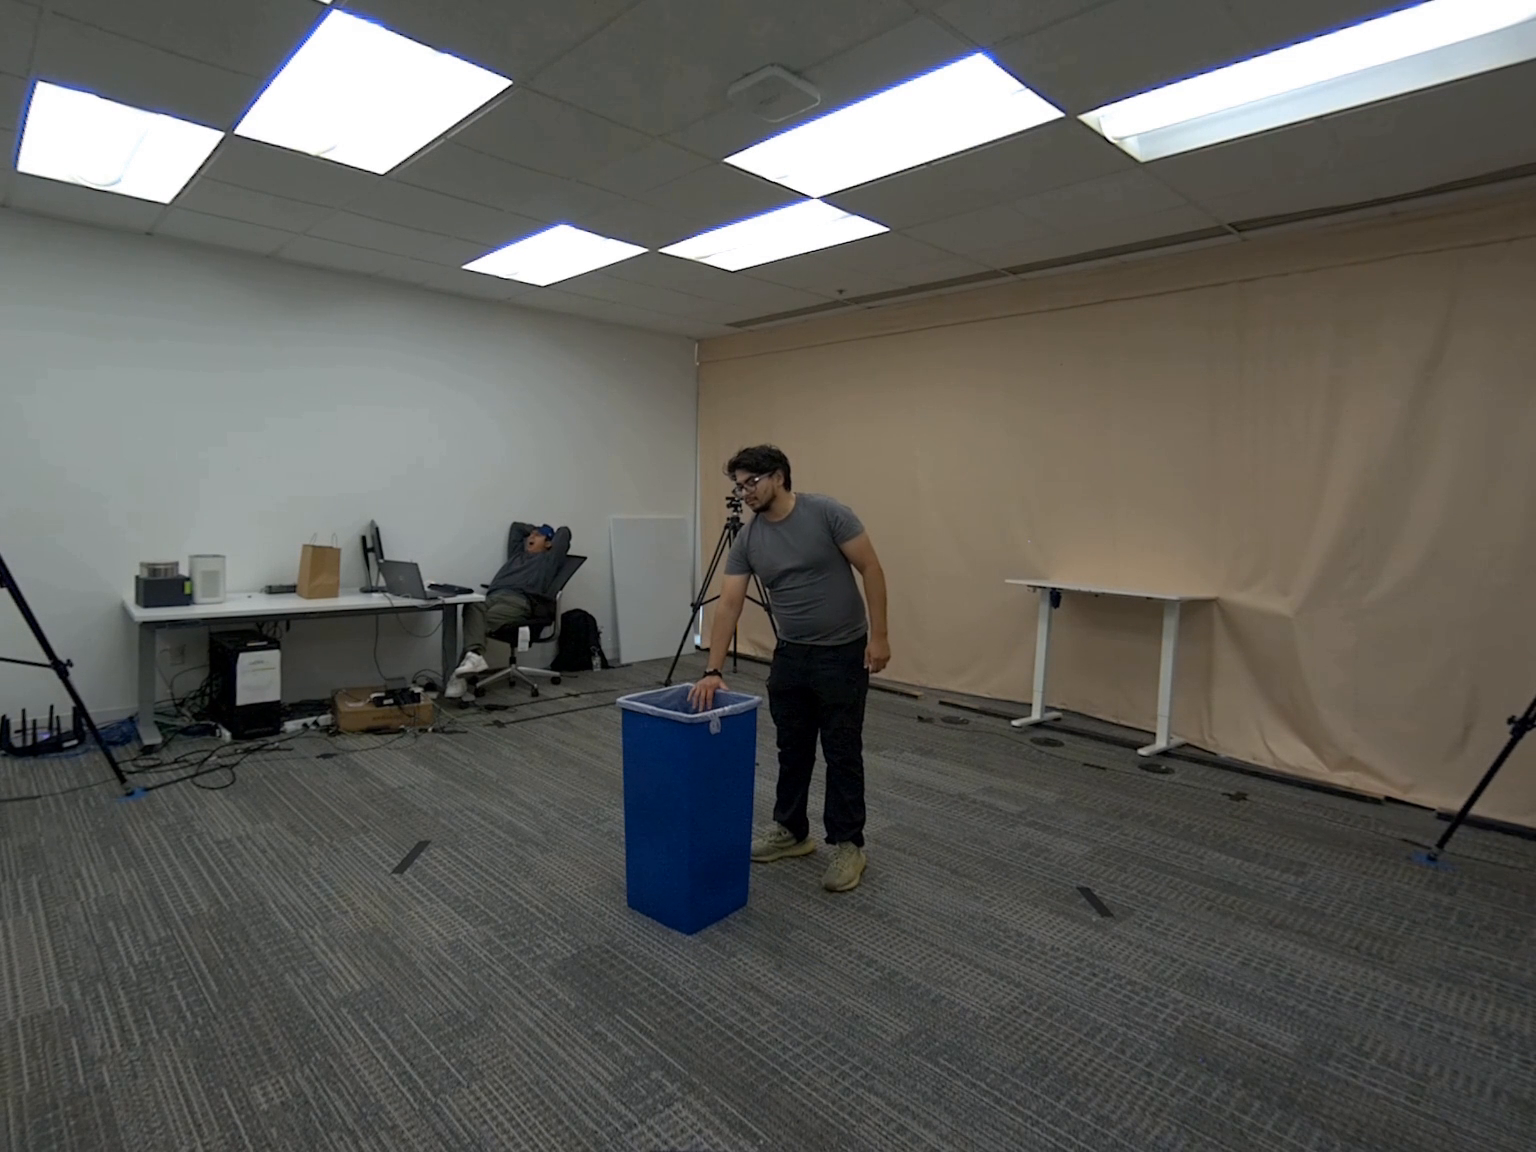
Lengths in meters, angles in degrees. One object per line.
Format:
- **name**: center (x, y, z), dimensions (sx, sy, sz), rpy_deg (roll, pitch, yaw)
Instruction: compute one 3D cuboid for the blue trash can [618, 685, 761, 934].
- **blue trash can**: center (-0.283, 0.767, 2.862), dimensions (0.383, 0.712, 0.369), rpy_deg (4, 4, 40)
